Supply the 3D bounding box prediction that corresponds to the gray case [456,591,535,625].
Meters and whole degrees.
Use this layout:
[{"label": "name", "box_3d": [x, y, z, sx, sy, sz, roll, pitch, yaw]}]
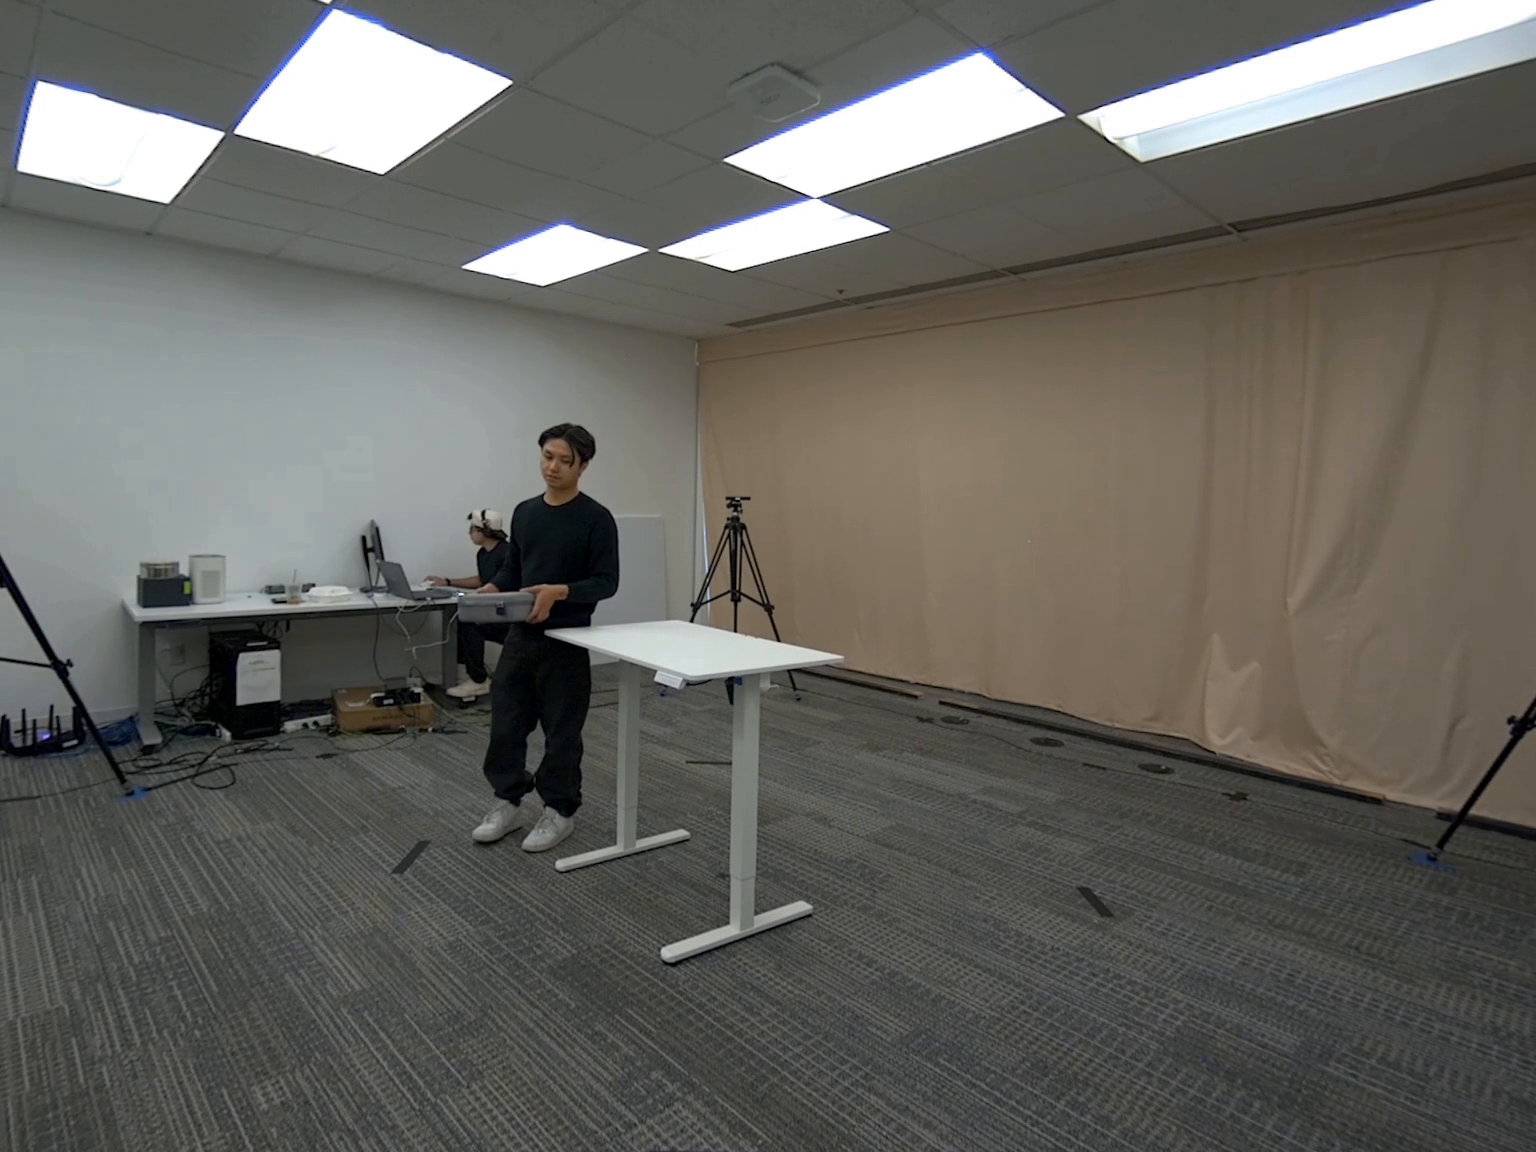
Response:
[{"label": "gray case", "box_3d": [-1.000, 0.110, 3.132, 0.261, 0.104, 0.256, -2, 0, 19]}]
